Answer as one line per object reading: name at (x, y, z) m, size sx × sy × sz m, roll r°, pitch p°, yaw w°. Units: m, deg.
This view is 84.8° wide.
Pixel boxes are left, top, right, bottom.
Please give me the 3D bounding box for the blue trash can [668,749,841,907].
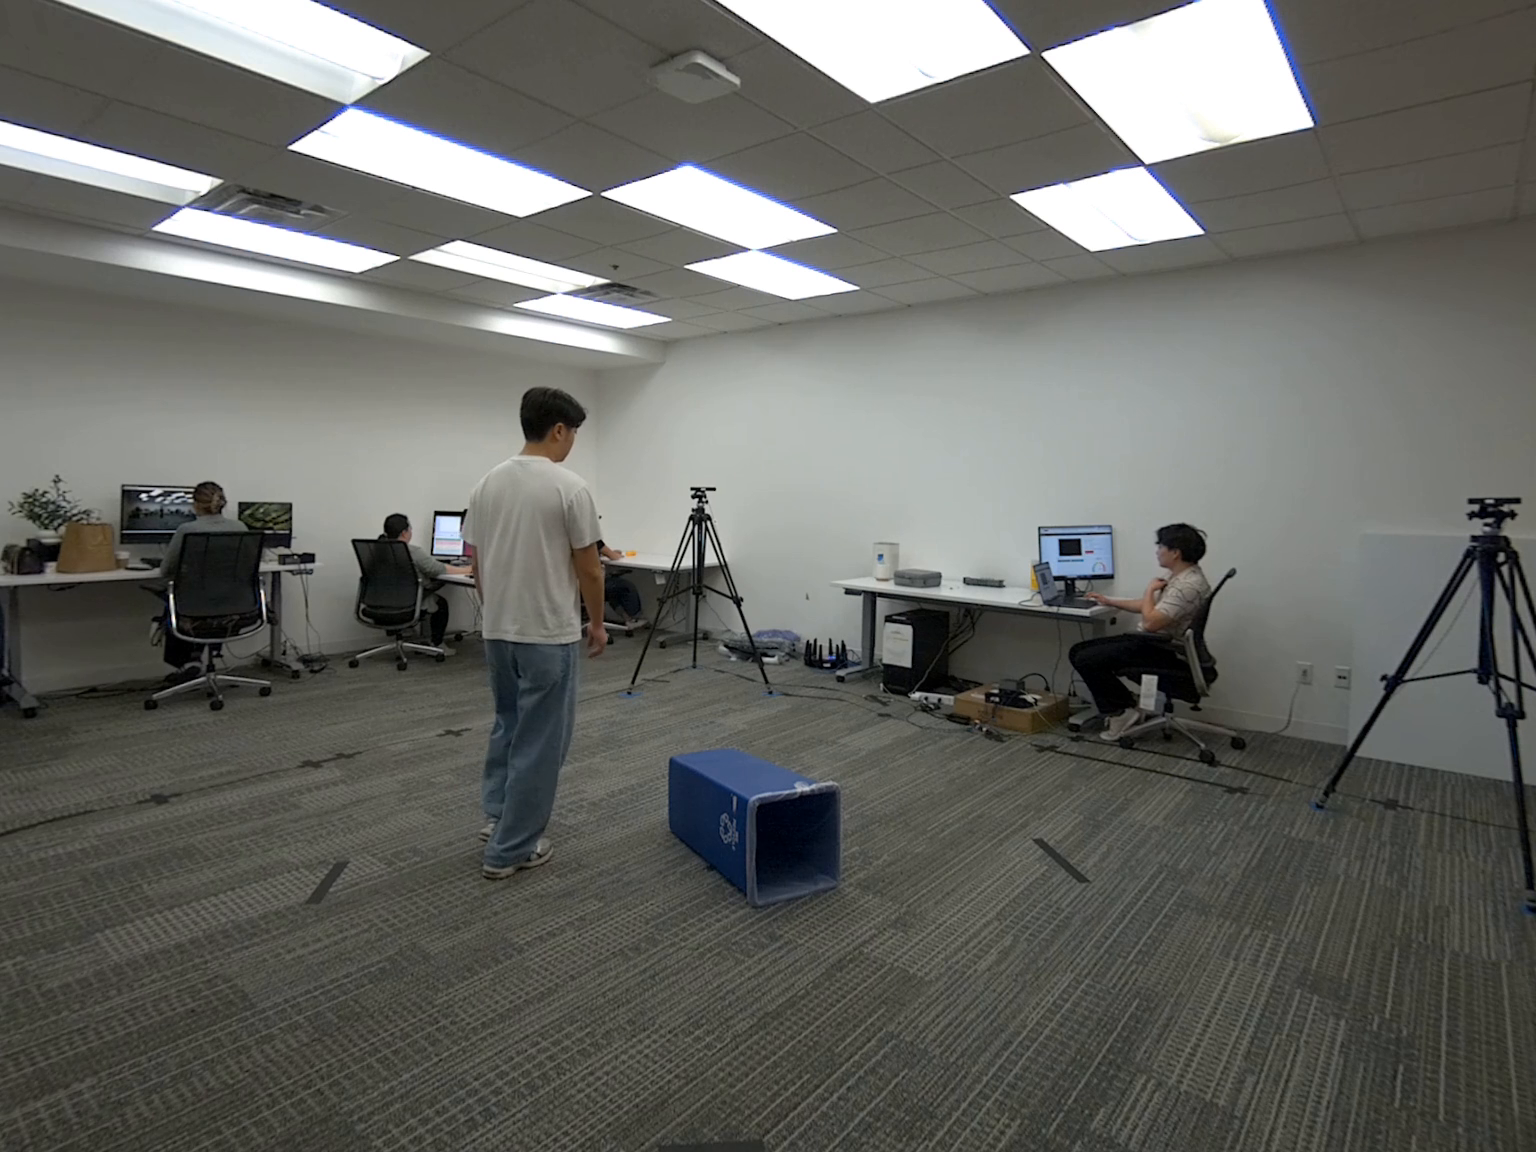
blue trash can at (-0.104, 0.896, 3.194) m, size 0.364 × 0.377 × 0.734 m, roll -2°, pitch 3°, yaw -32°
